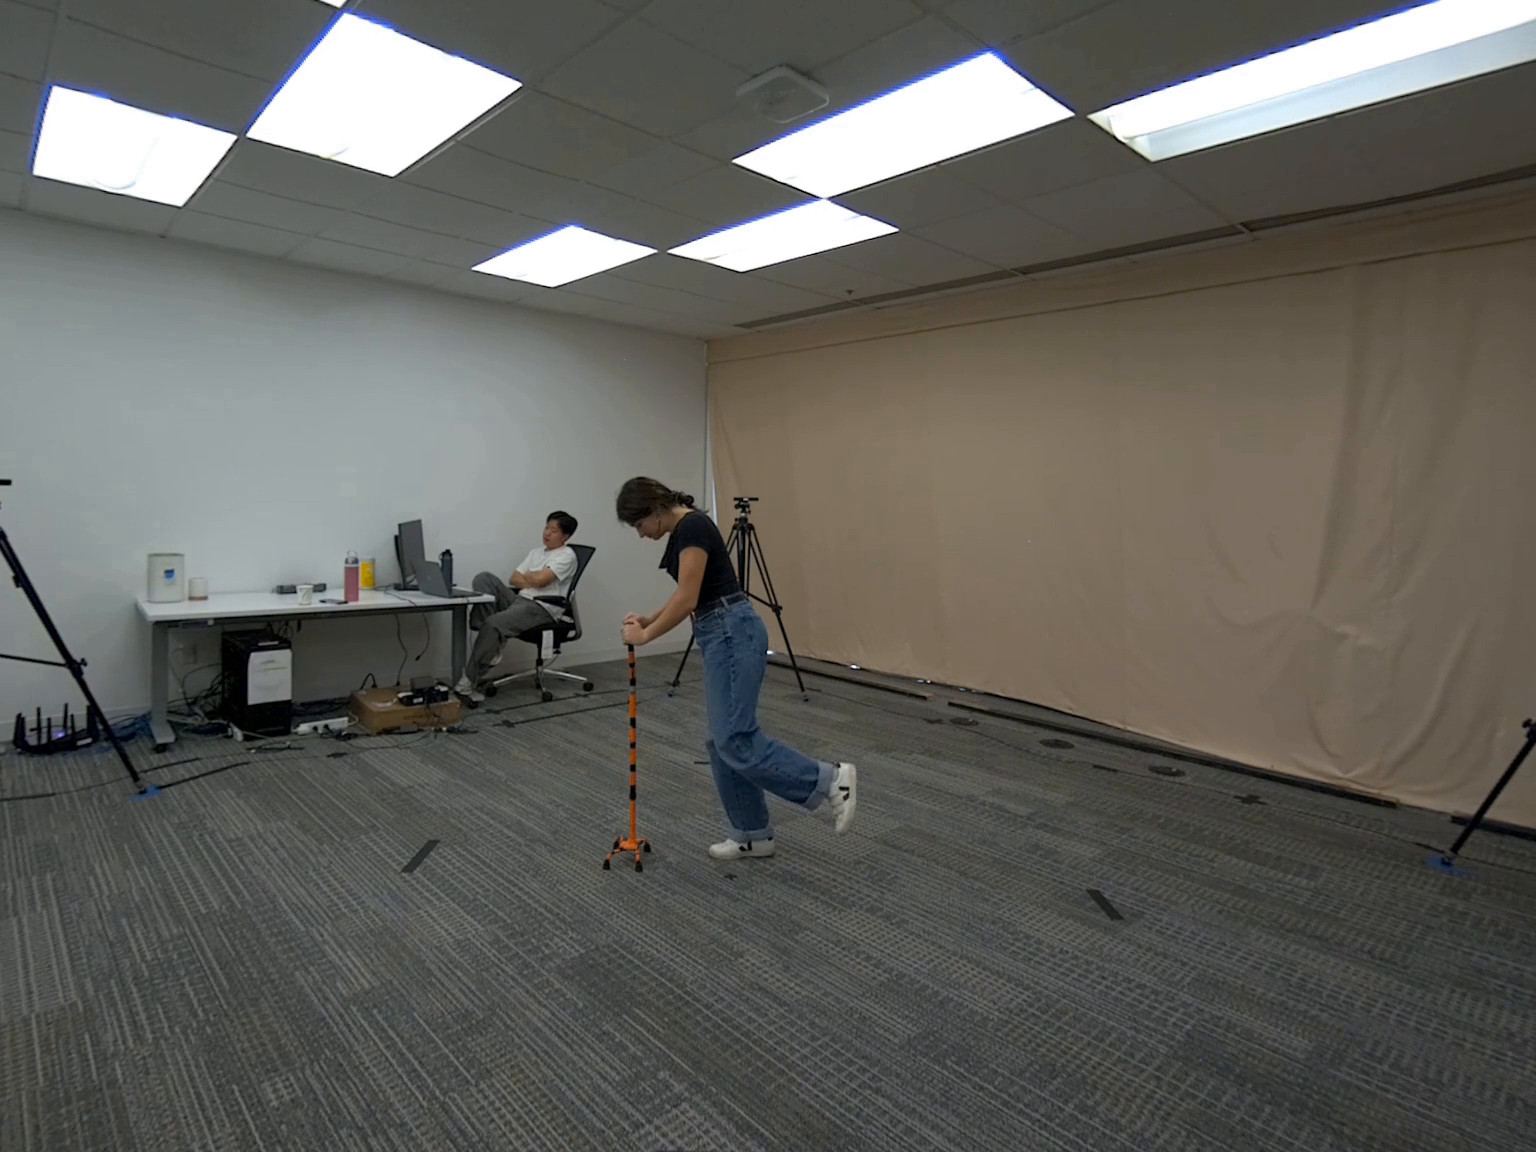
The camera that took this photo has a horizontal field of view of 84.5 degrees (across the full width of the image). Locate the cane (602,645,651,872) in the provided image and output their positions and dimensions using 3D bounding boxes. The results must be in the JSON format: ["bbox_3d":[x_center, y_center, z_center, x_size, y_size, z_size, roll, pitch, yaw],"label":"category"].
[{"bbox_3d":[-0.536,0.630,3.205,0.152,0.906,0.206,1,3,3],"label":"cane"}]
